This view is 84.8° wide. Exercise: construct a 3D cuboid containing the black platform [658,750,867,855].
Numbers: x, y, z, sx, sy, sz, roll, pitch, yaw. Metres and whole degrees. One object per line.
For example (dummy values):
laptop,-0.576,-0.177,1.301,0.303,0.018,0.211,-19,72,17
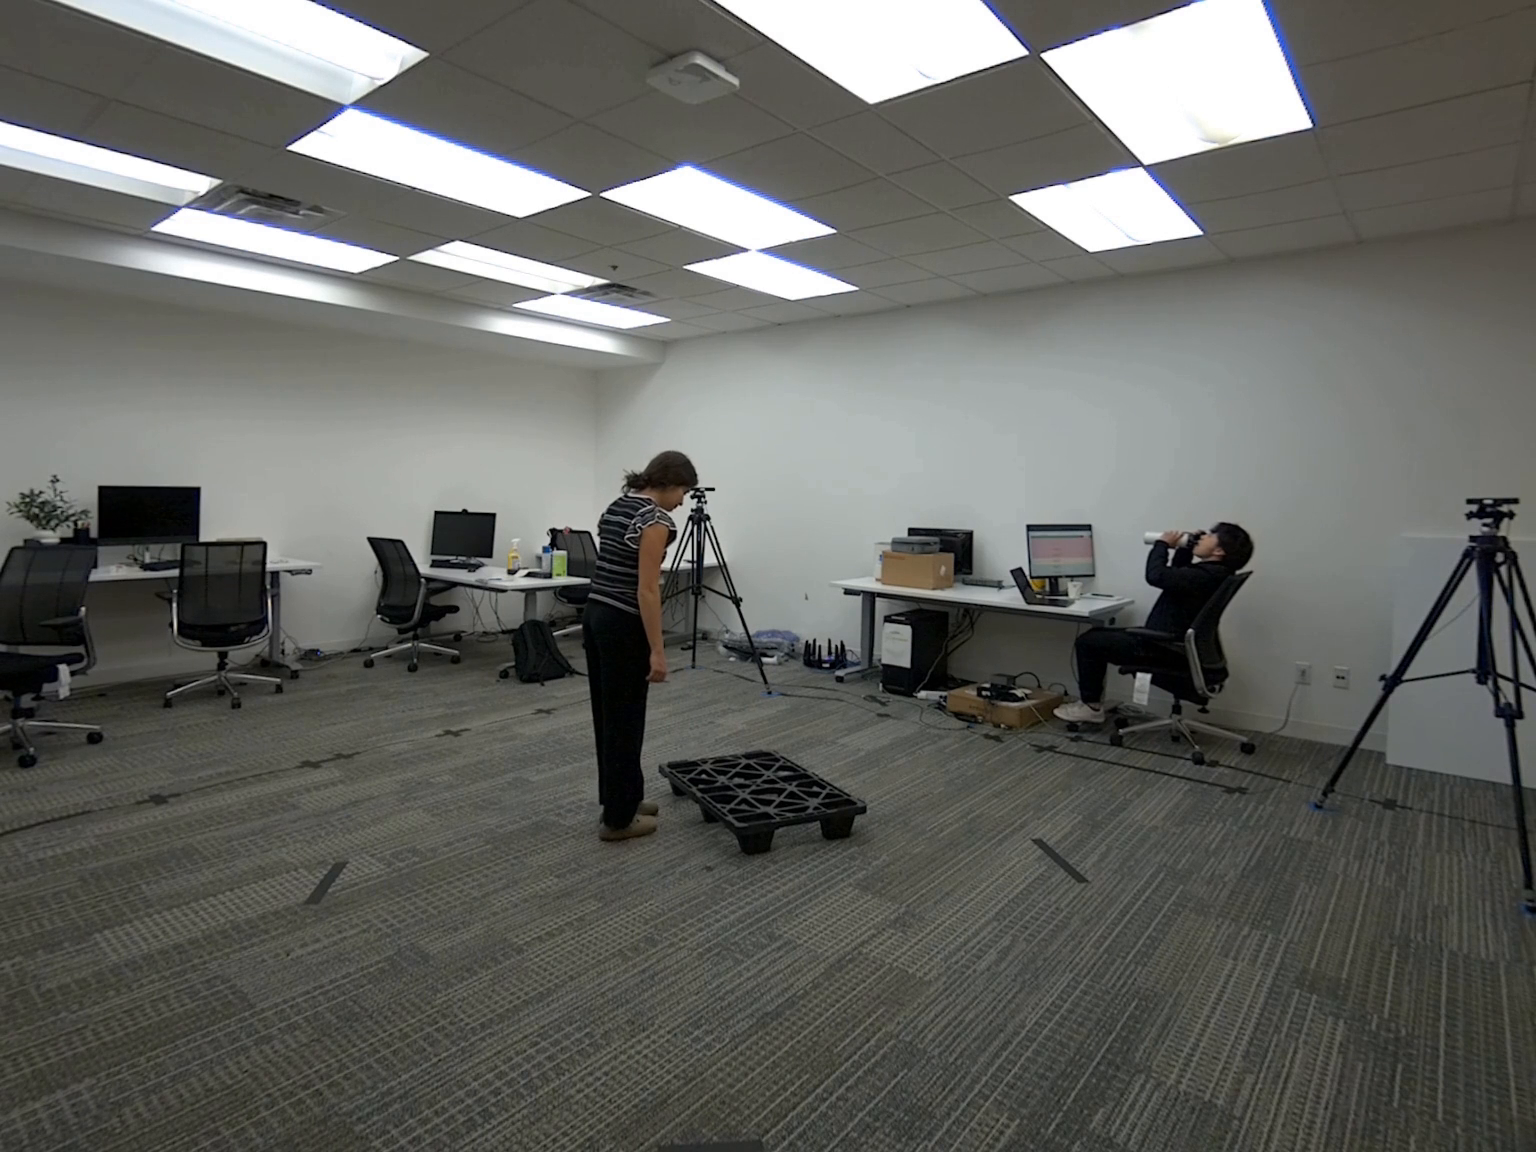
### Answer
black platform,-0.062,0.948,3.653,0.590,0.143,0.829,-1,6,-28
